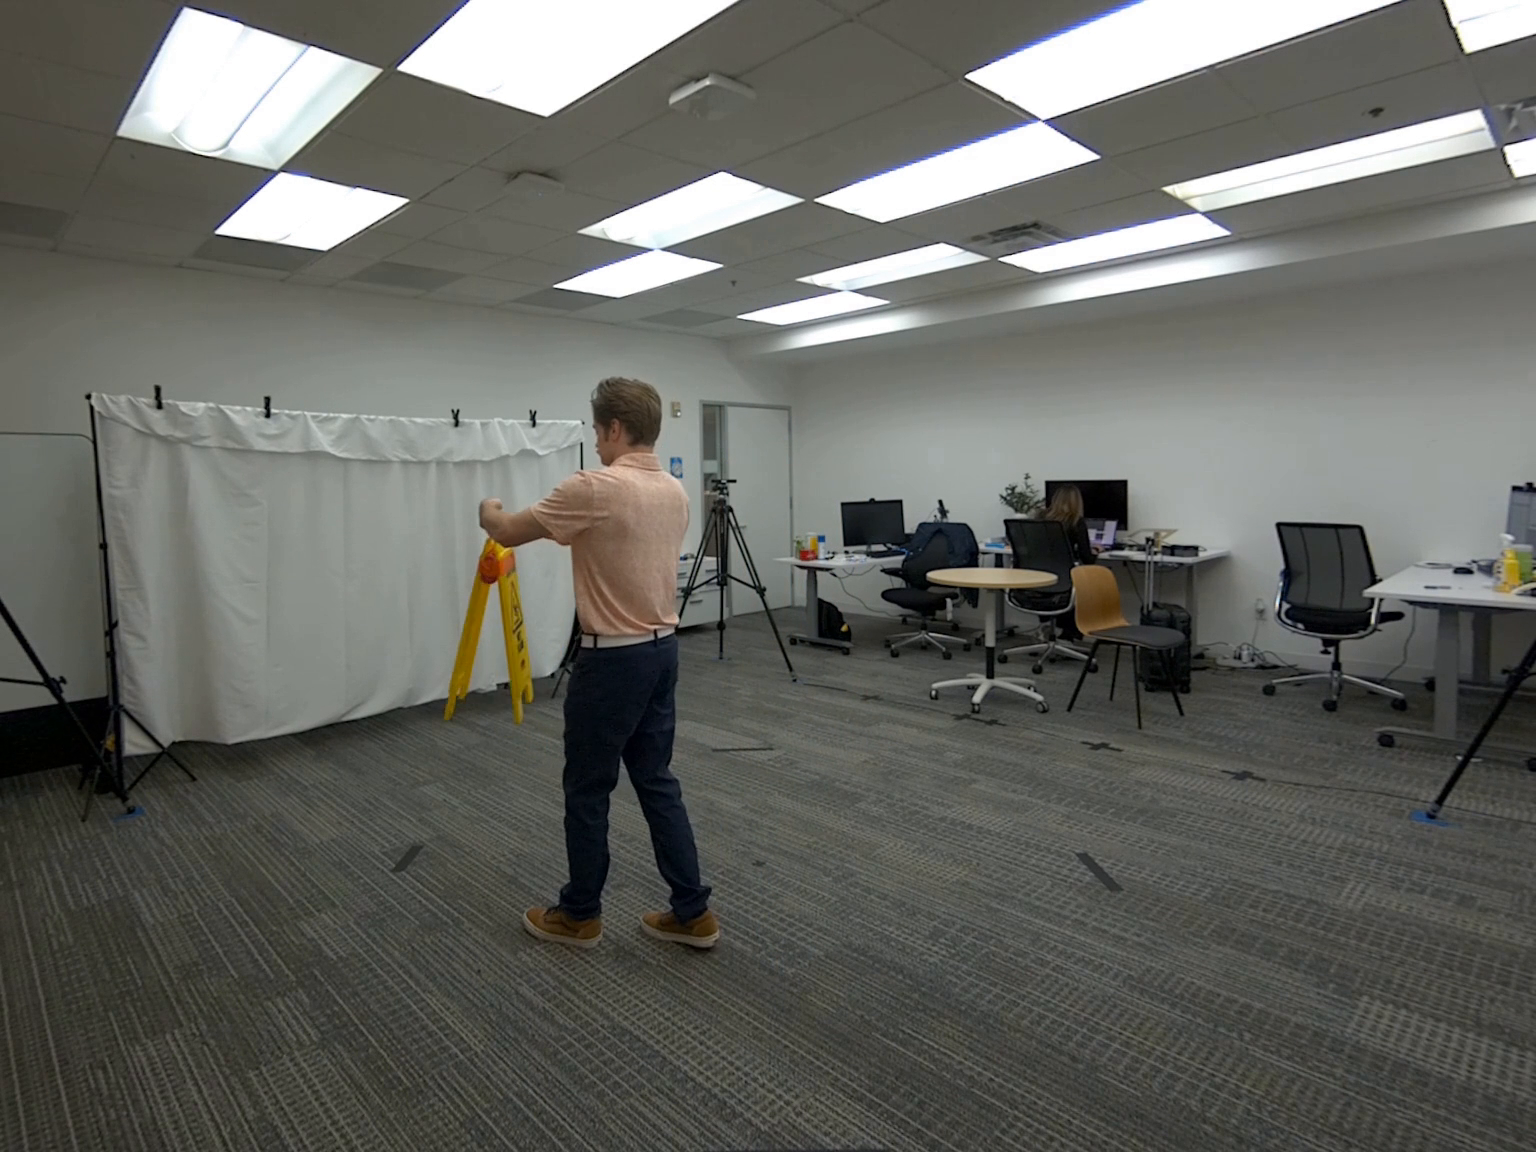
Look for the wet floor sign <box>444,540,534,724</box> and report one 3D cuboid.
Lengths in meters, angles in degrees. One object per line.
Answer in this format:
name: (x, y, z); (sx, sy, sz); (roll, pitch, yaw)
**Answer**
wet floor sign: (-0.907, 0.129, 2.810); (0.288, 0.642, 0.285); (2, 7, -6)
